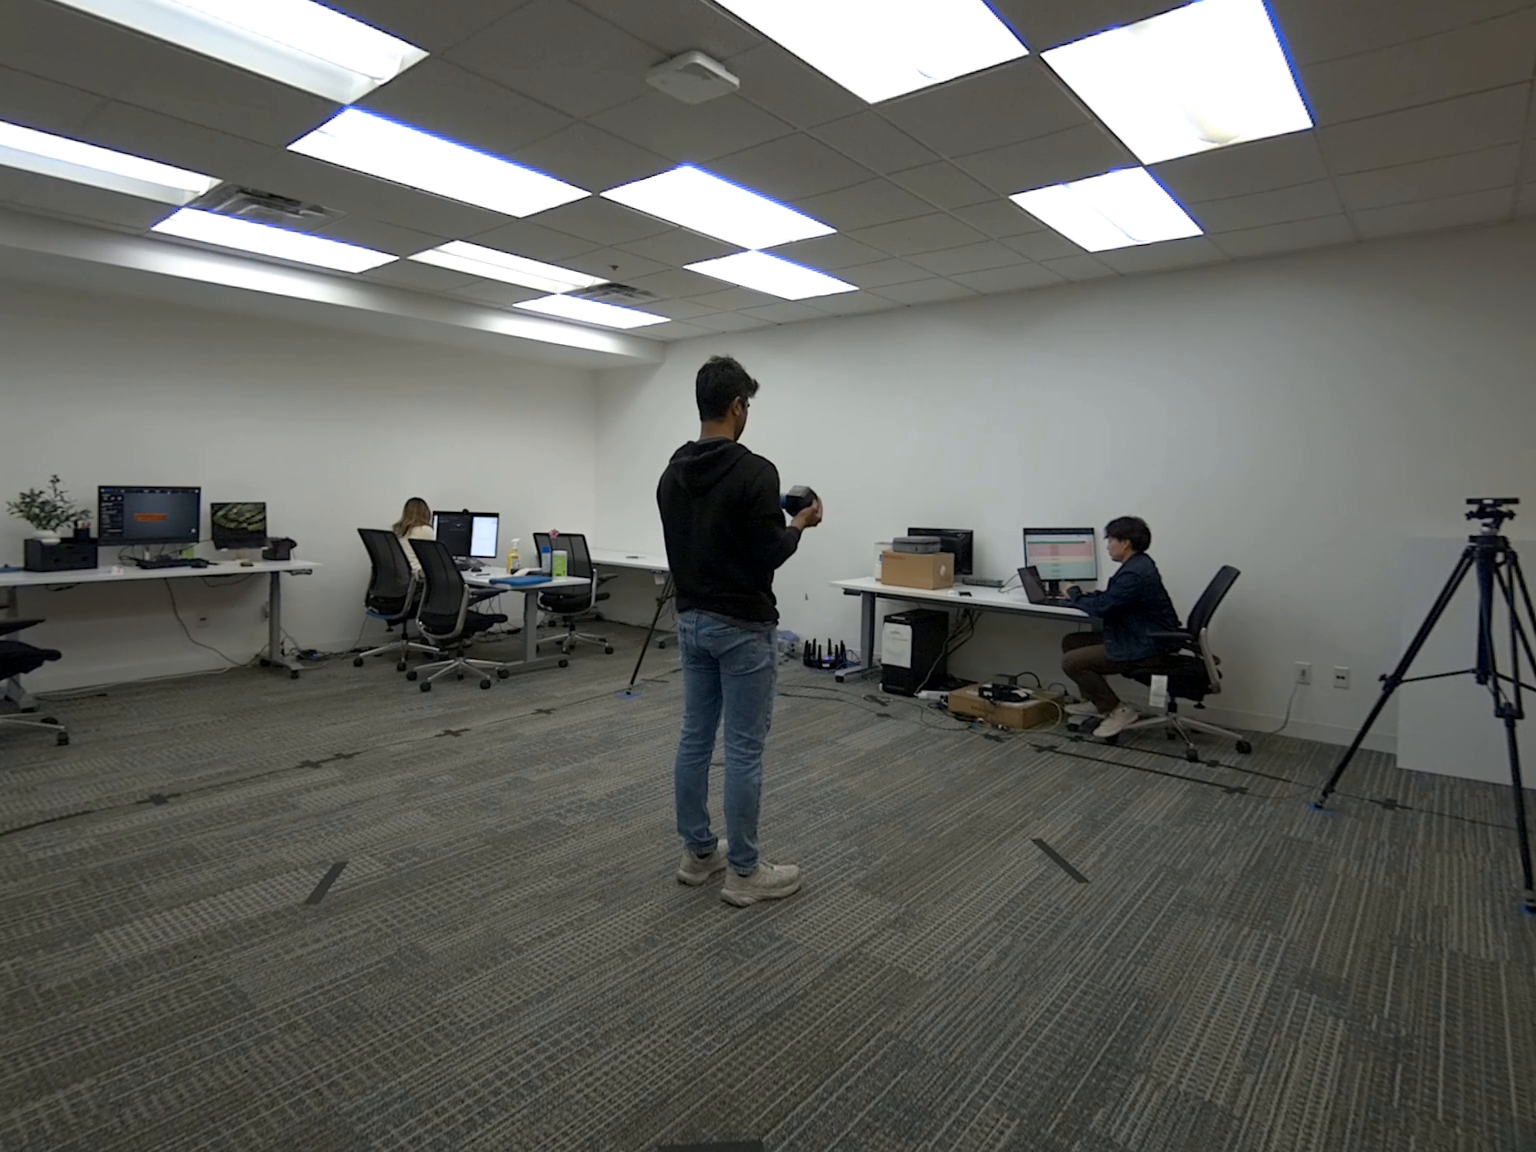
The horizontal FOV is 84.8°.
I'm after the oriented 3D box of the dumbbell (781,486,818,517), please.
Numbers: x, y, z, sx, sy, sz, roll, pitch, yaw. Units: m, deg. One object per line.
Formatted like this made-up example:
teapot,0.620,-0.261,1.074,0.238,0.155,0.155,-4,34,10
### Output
dumbbell,0.022,-0.266,3.124,0.304,0.109,0.118,7,-18,38
